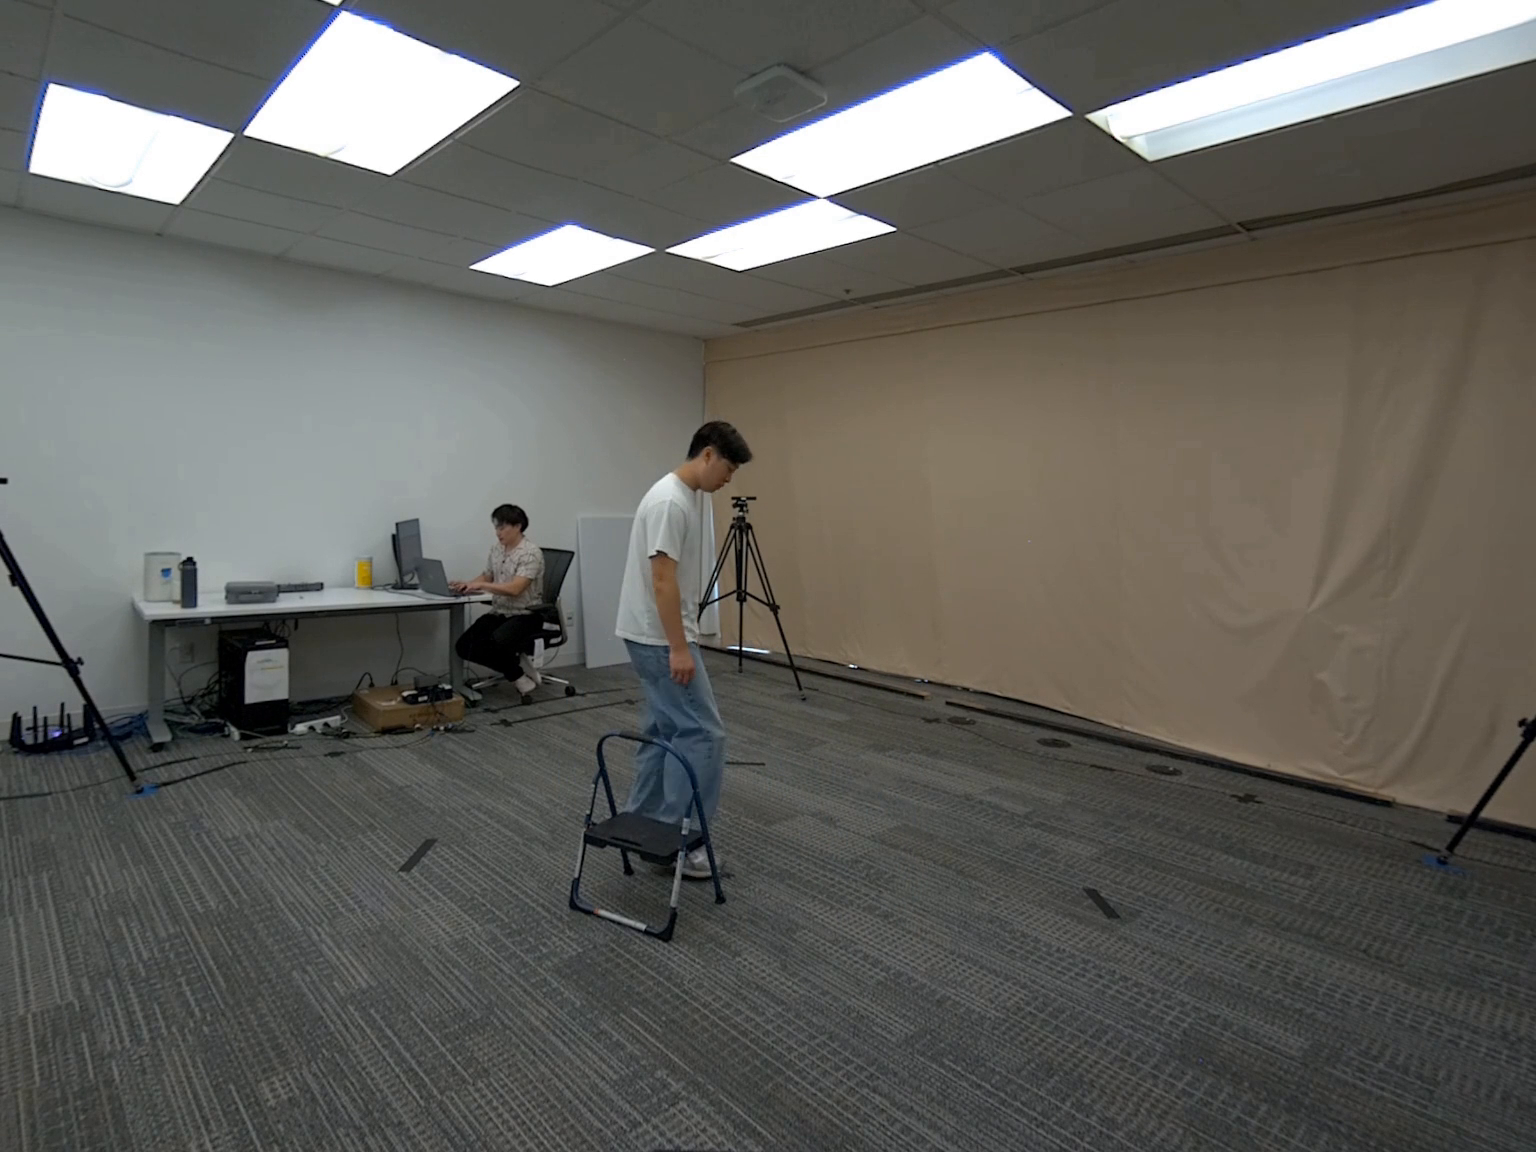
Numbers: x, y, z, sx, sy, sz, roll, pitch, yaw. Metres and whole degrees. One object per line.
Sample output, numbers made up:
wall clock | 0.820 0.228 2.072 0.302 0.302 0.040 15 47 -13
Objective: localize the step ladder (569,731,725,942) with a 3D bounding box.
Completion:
step ladder | -0.415 0.820 2.855 0.440 0.604 0.342 4 4 30
